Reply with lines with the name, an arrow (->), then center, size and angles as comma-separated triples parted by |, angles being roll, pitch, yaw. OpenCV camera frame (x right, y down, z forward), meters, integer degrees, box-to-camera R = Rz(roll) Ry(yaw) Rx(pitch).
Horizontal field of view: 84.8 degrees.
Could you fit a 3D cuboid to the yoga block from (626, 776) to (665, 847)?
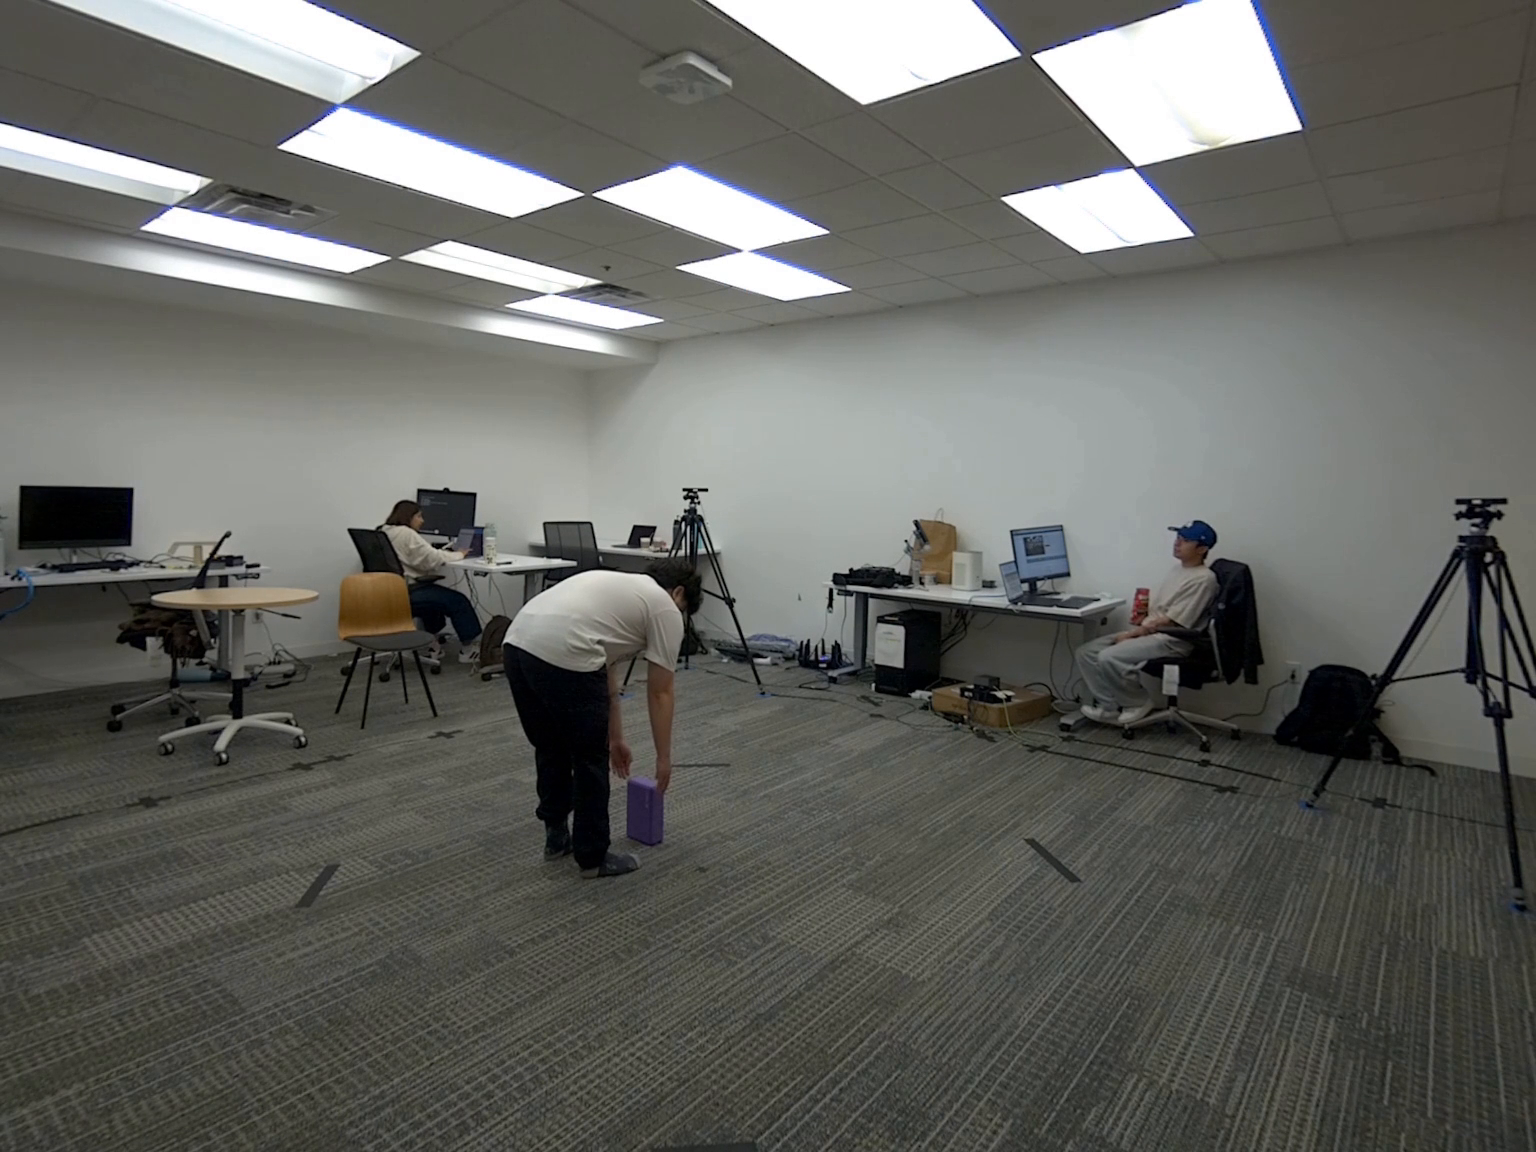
yoga block -> -0.500, 0.925, 3.370 | 0.154, 0.229, 0.074 | 2, 4, 39
